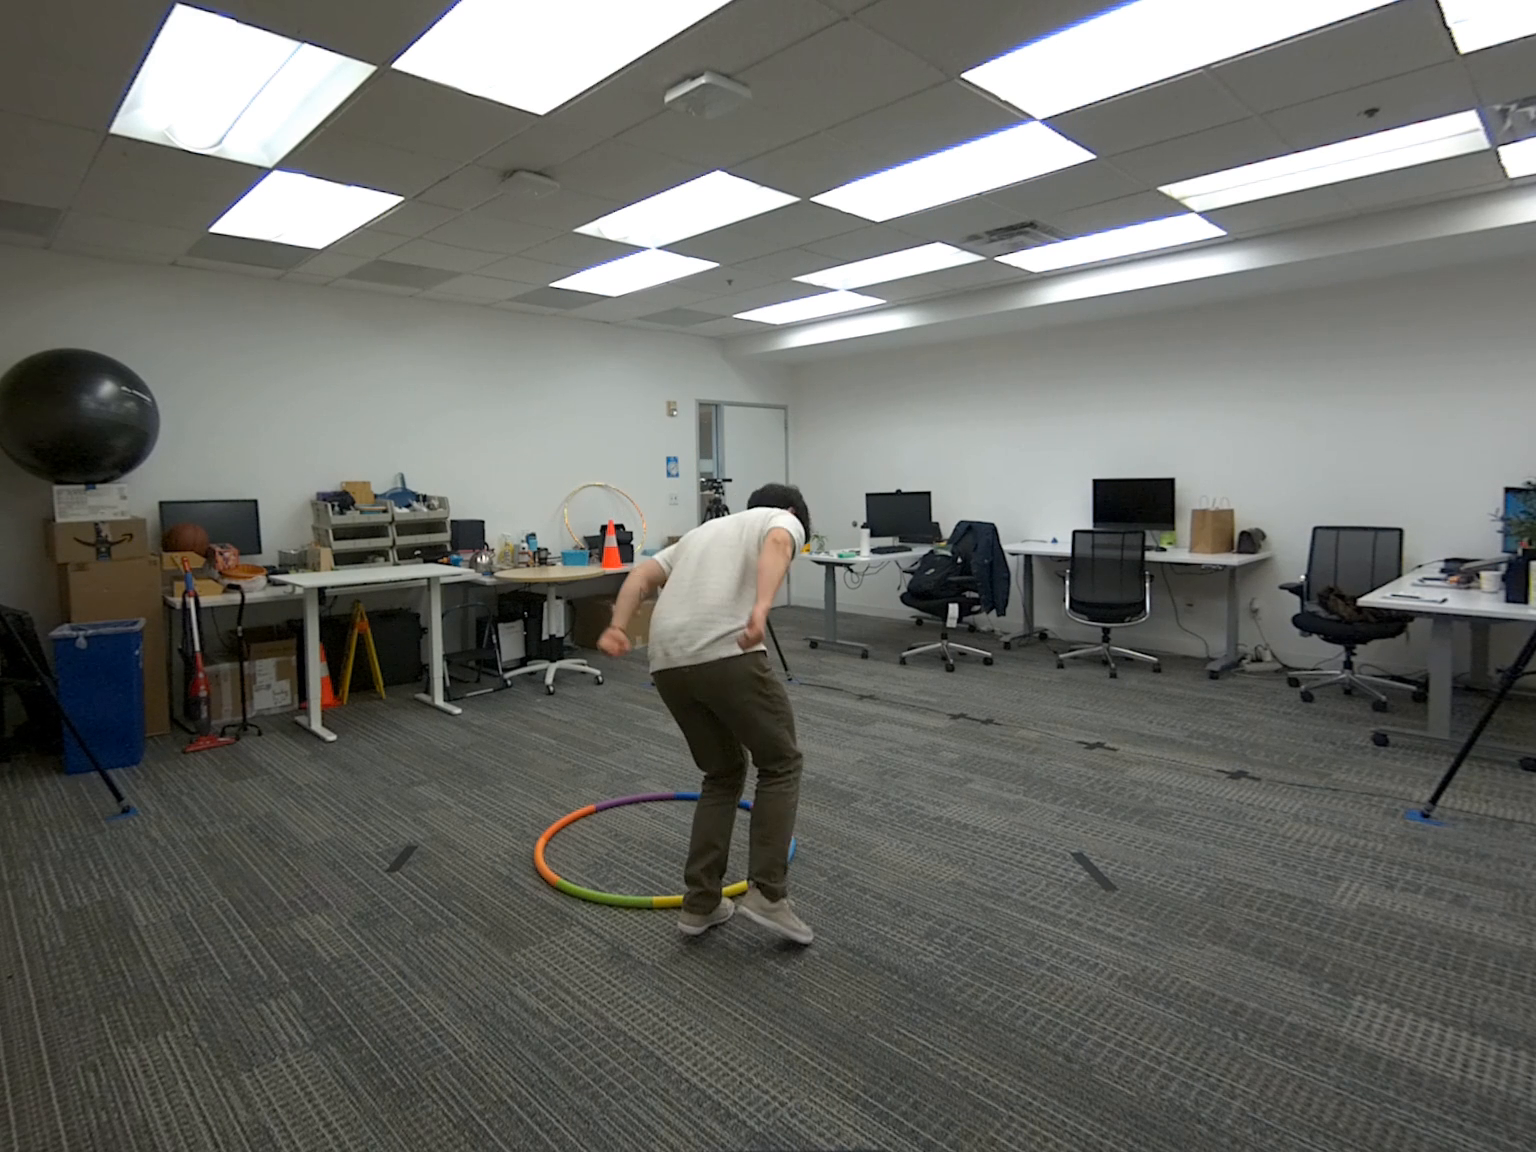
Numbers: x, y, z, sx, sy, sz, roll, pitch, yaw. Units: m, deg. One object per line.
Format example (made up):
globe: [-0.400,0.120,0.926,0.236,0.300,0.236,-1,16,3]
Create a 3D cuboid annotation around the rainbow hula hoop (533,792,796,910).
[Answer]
rainbow hula hoop: [-0.384,1.004,3.270,0.978,0.035,0.984,-1,6,-2]
